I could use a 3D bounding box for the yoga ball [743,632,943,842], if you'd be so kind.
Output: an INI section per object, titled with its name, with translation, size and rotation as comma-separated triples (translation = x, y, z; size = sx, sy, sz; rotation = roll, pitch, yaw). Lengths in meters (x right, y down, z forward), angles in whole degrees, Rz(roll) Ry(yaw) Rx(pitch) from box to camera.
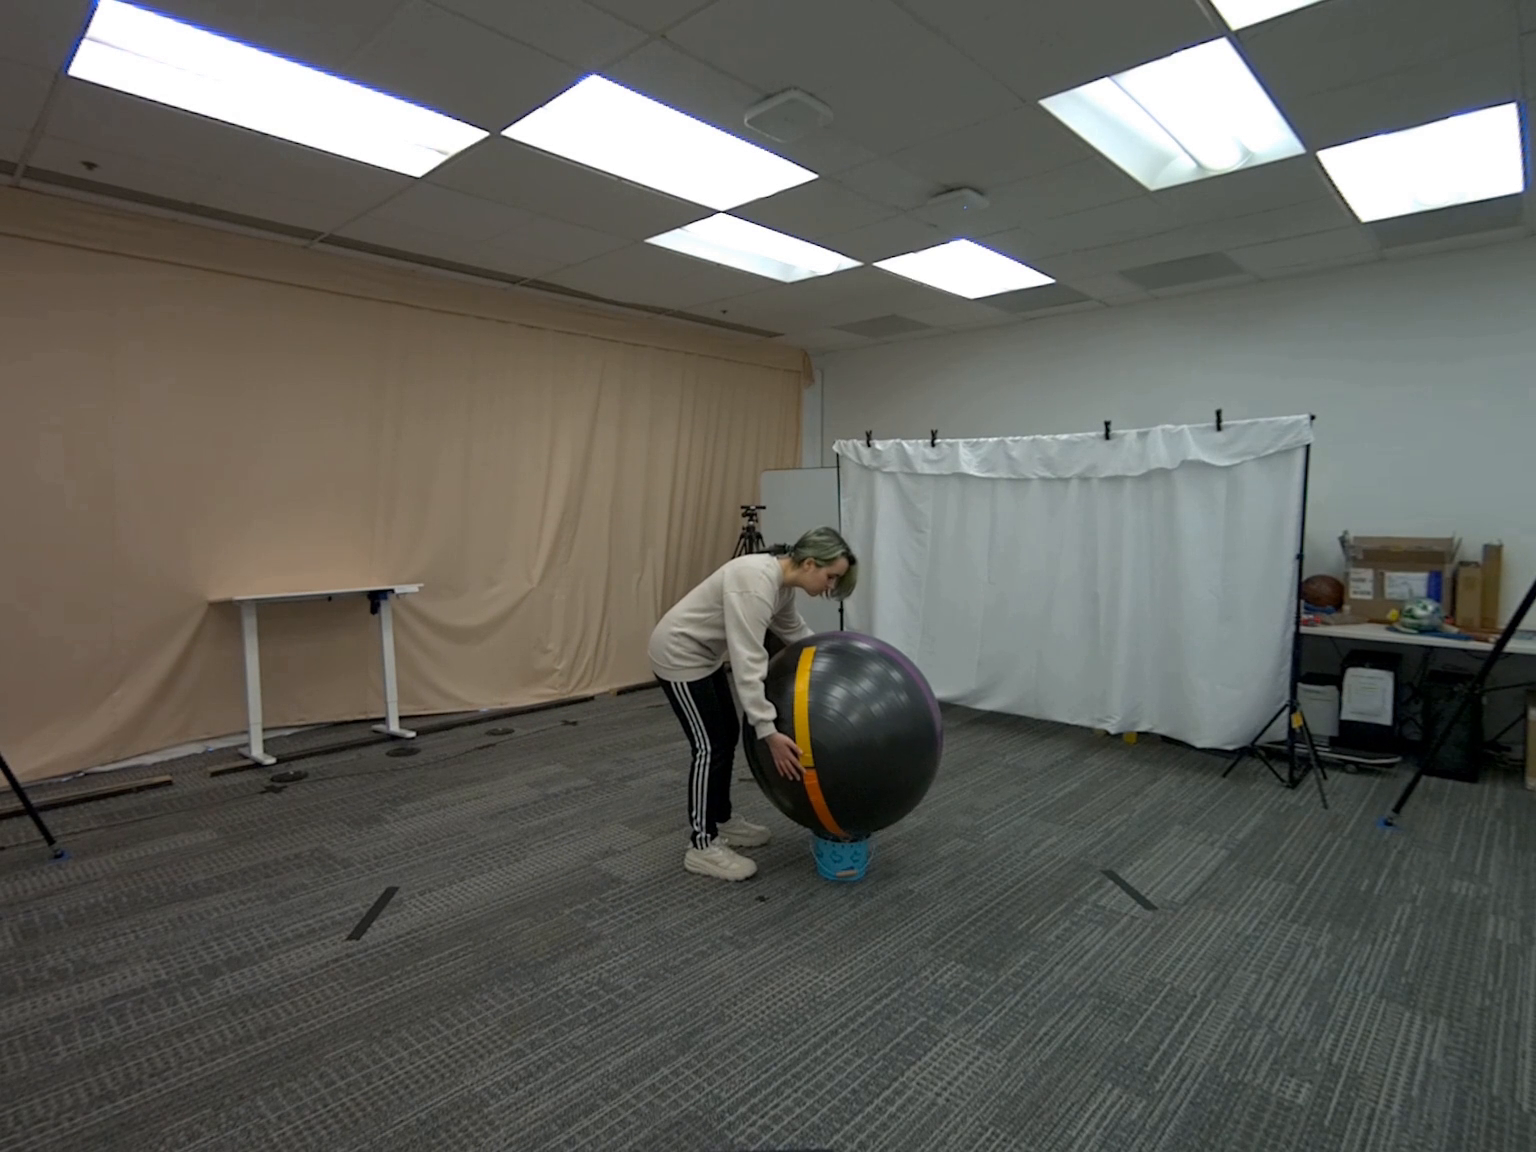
[yoga ball]
translation = 0.283, 0.596, 3.213
size = 0.757, 0.756, 0.761
rotation = 0, 4, -2
